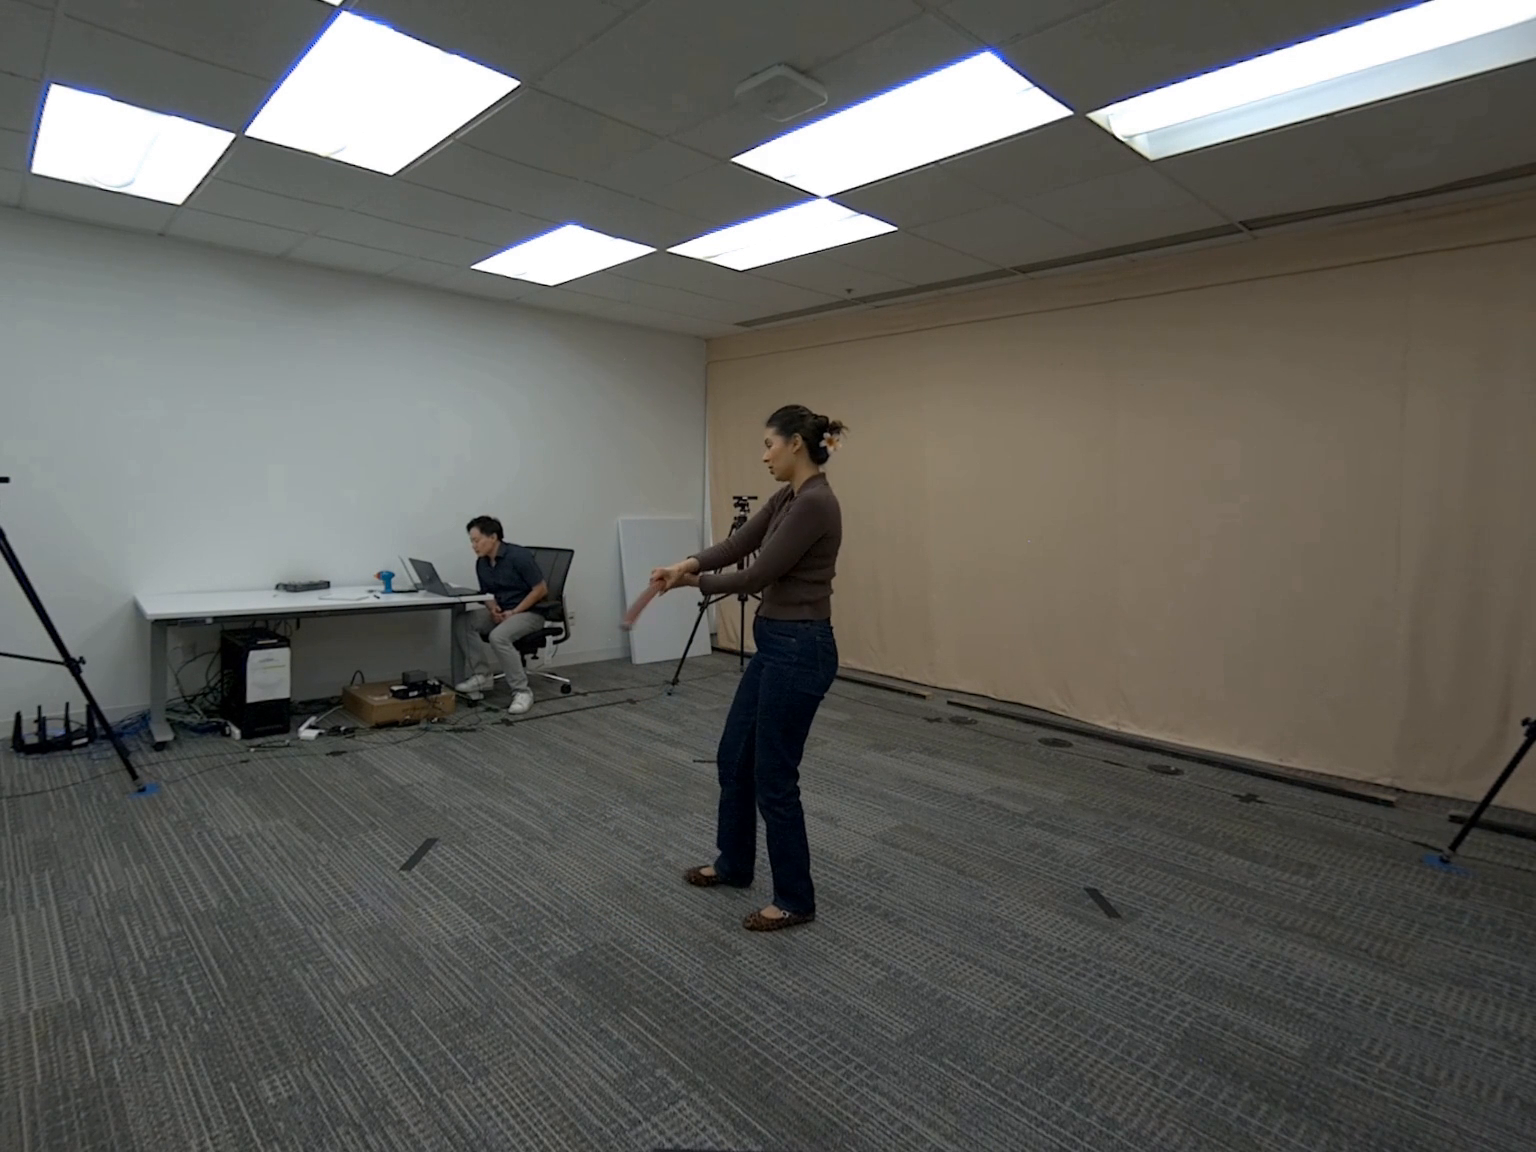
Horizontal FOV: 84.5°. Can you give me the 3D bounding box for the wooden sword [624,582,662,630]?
[{"bbox_3d":[-0.306,0.086,2.251,0.051,0.024,1.034,8,8,-7],"label":"wooden sword"}]
